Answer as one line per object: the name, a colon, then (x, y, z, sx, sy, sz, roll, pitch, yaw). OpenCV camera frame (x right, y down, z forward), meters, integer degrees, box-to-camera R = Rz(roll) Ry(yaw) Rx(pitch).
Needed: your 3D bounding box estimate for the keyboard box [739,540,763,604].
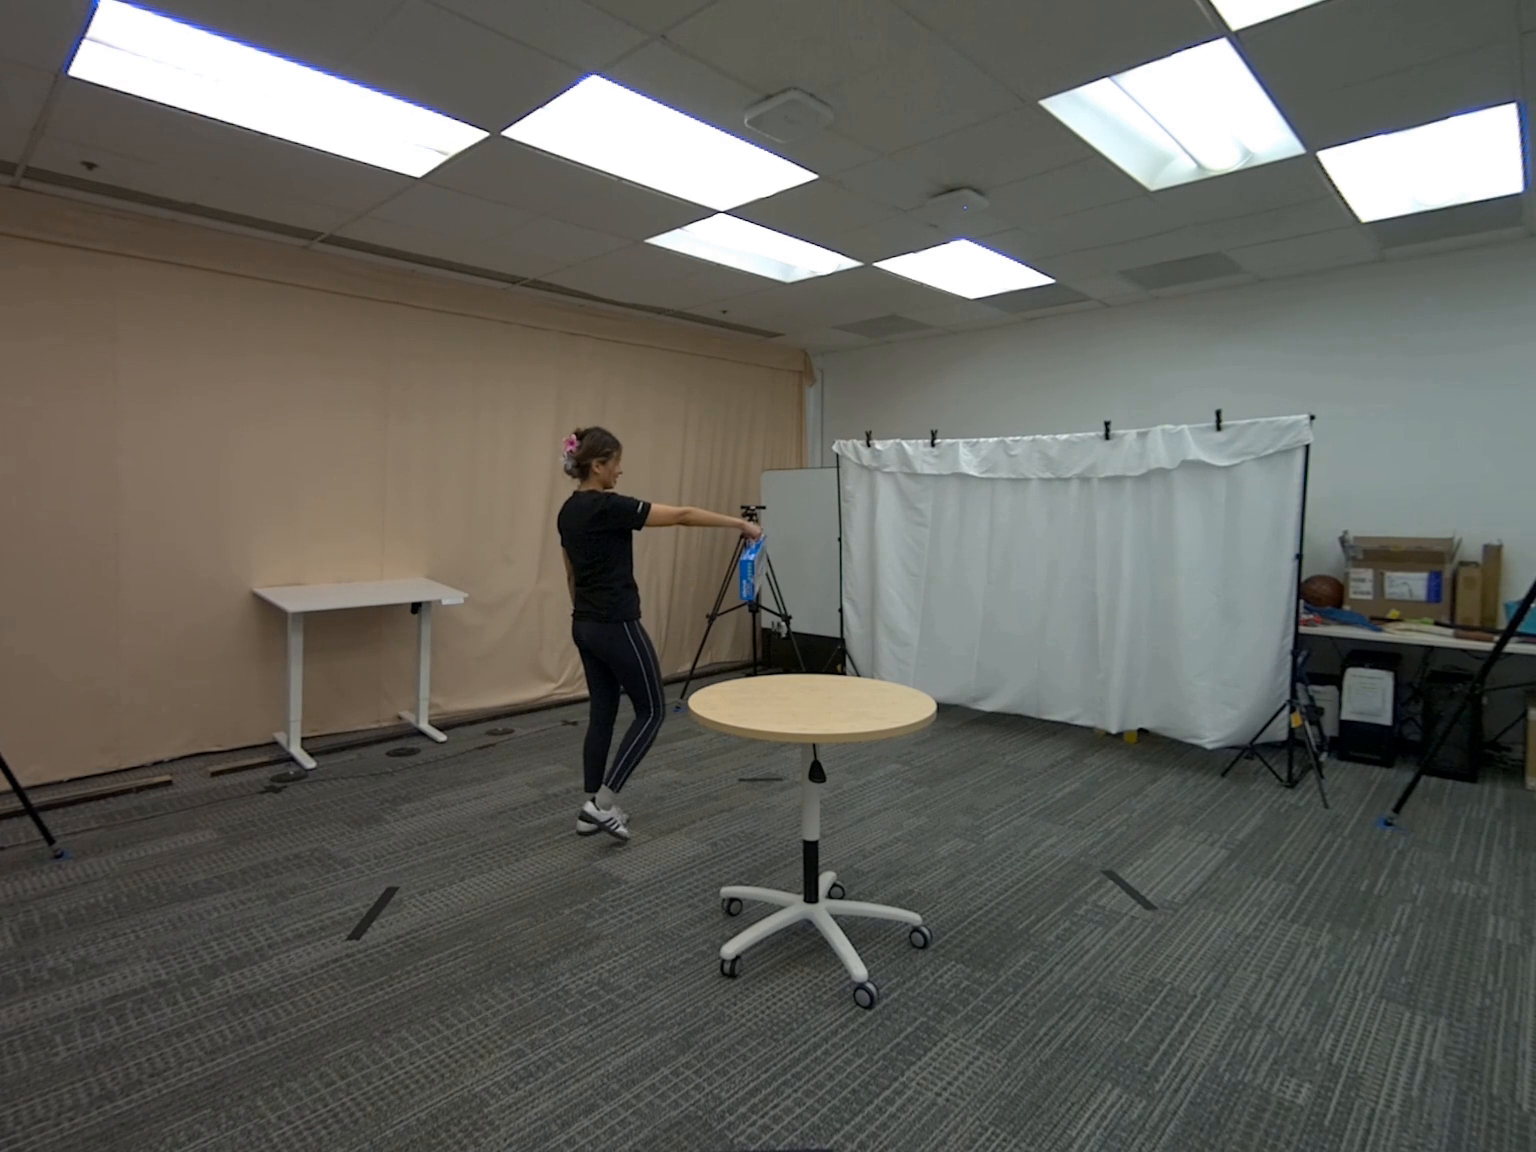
keyboard box: (-0.058, -0.042, 3.596, 0.059, 0.174, 0.437, 0, 15, 5)
